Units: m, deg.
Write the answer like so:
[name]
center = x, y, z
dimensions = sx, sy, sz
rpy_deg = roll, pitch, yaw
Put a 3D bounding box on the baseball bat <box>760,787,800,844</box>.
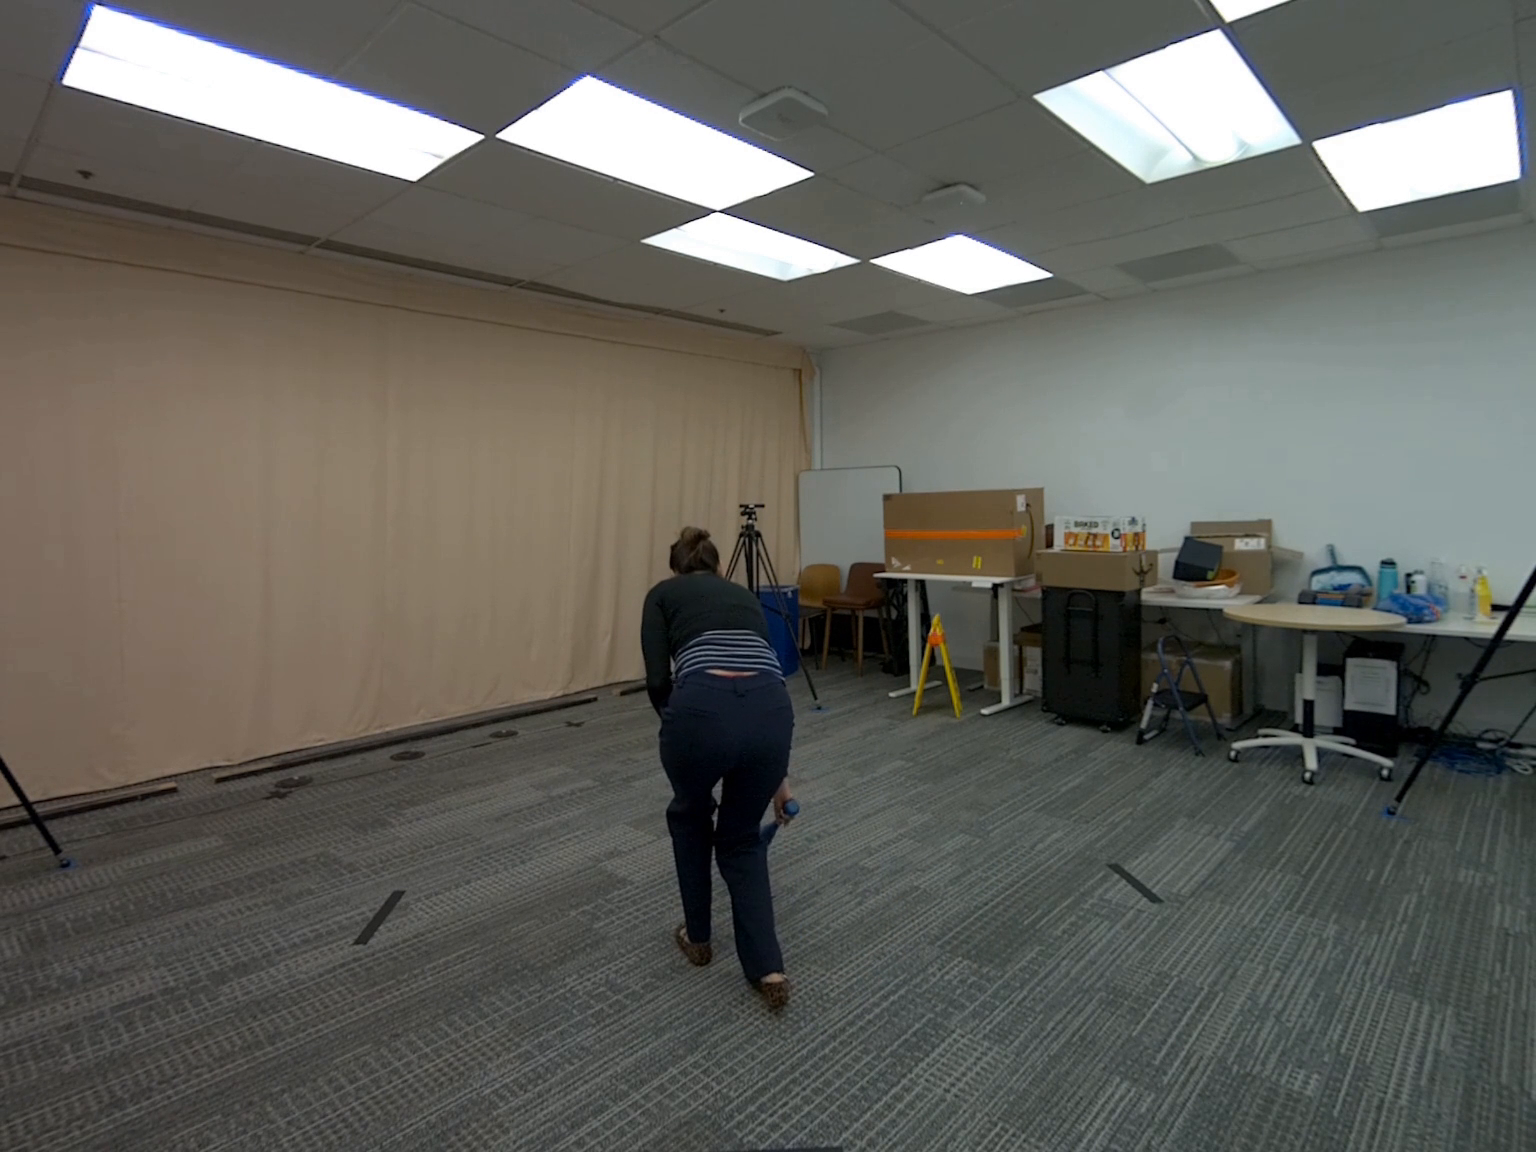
[baseball bat]
center = -0.009, 0.897, 2.915
dimensions = 0.087, 0.091, 0.542
rpy_deg = -2, -32, -24
